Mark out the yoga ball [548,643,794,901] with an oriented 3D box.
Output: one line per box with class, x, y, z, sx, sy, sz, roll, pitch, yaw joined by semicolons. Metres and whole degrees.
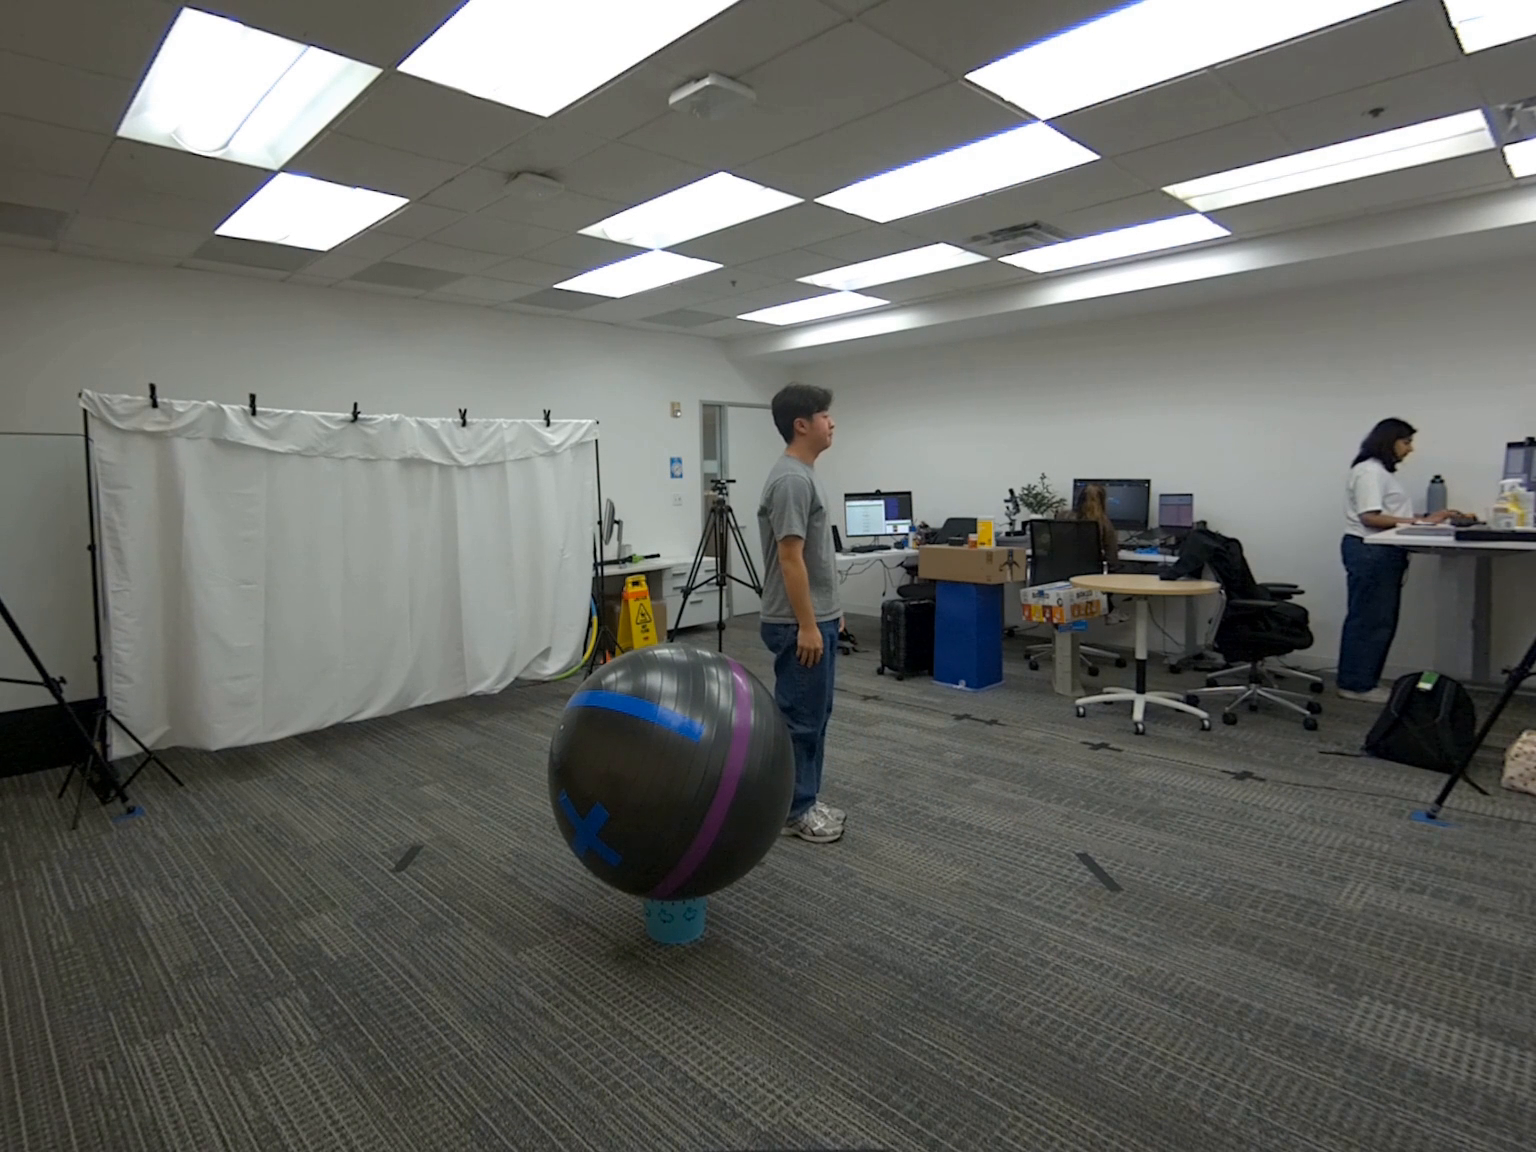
yoga ball;-0.289;0.594;2.637;0.757;0.755;0.762;-1;5;-2
